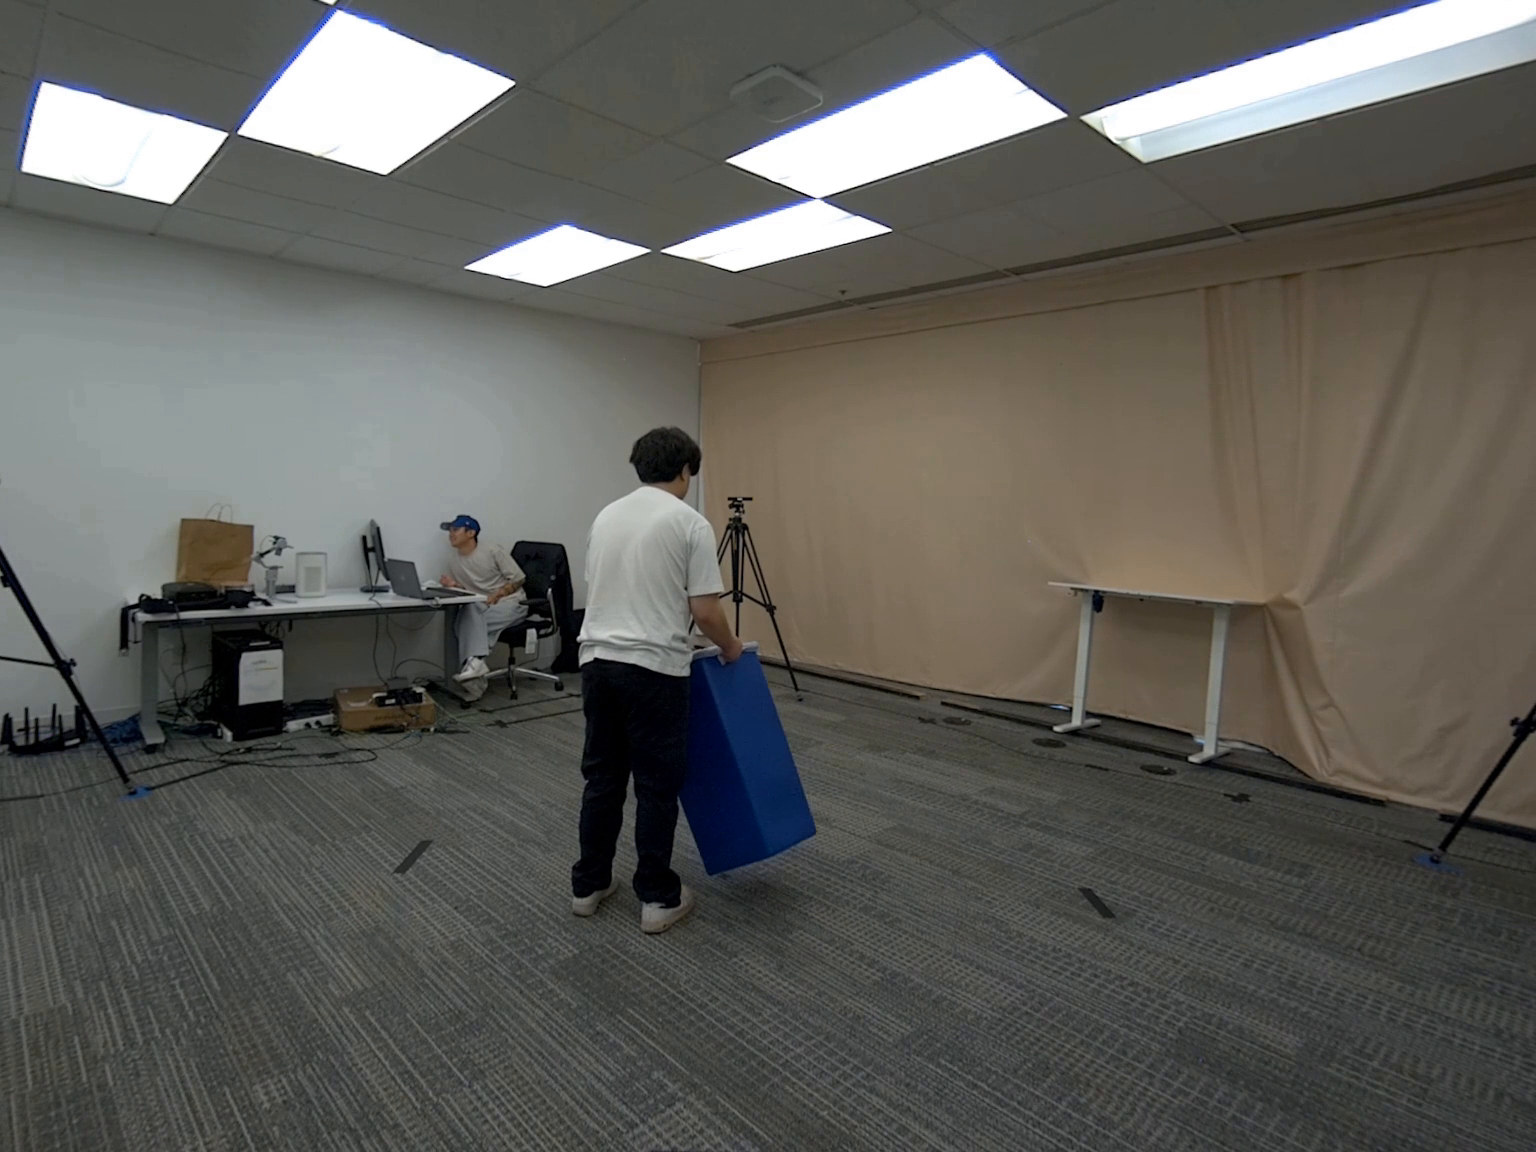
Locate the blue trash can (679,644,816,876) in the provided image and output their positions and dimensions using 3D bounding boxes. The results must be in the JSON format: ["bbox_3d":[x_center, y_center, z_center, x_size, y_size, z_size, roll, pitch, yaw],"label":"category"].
[{"bbox_3d":[-0.155,0.655,3.042,0.377,0.724,0.369,-30,-18,32],"label":"blue trash can"}]
